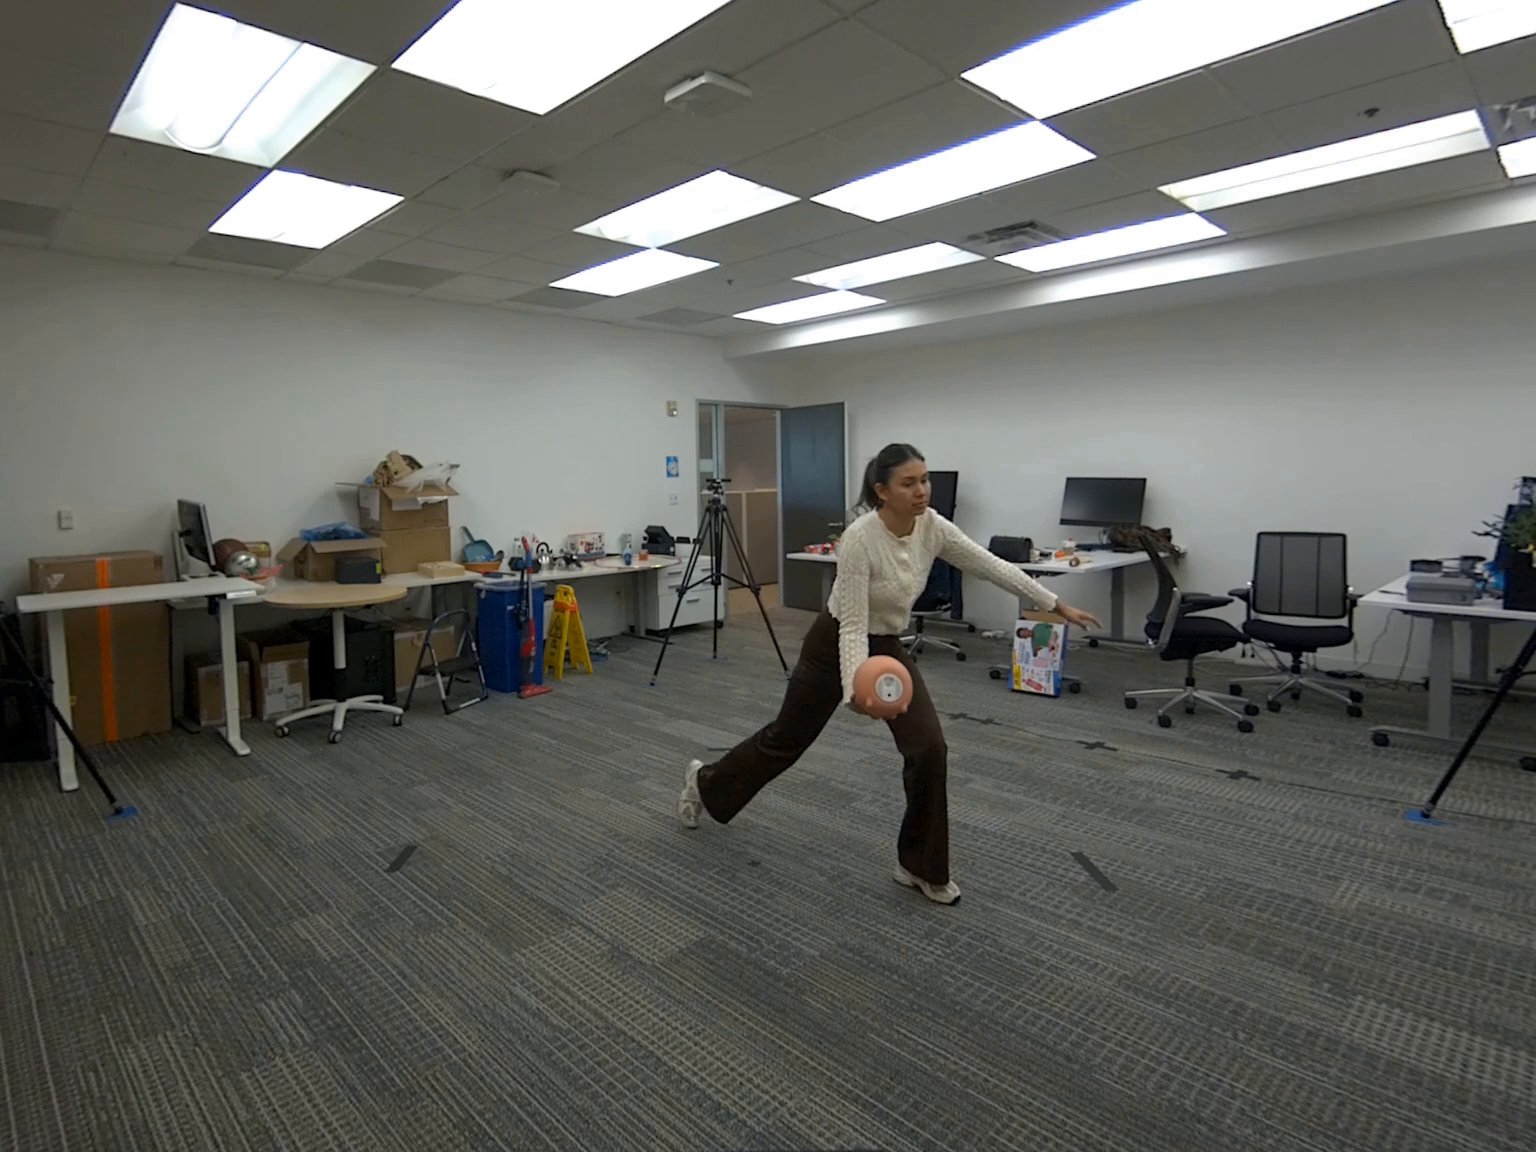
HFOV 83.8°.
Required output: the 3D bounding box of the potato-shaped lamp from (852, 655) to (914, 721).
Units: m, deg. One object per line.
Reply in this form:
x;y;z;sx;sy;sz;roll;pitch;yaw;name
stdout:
0.326;0.318;2.492;0.163;0.173;0.198;11;-13;-12;potato-shaped lamp
